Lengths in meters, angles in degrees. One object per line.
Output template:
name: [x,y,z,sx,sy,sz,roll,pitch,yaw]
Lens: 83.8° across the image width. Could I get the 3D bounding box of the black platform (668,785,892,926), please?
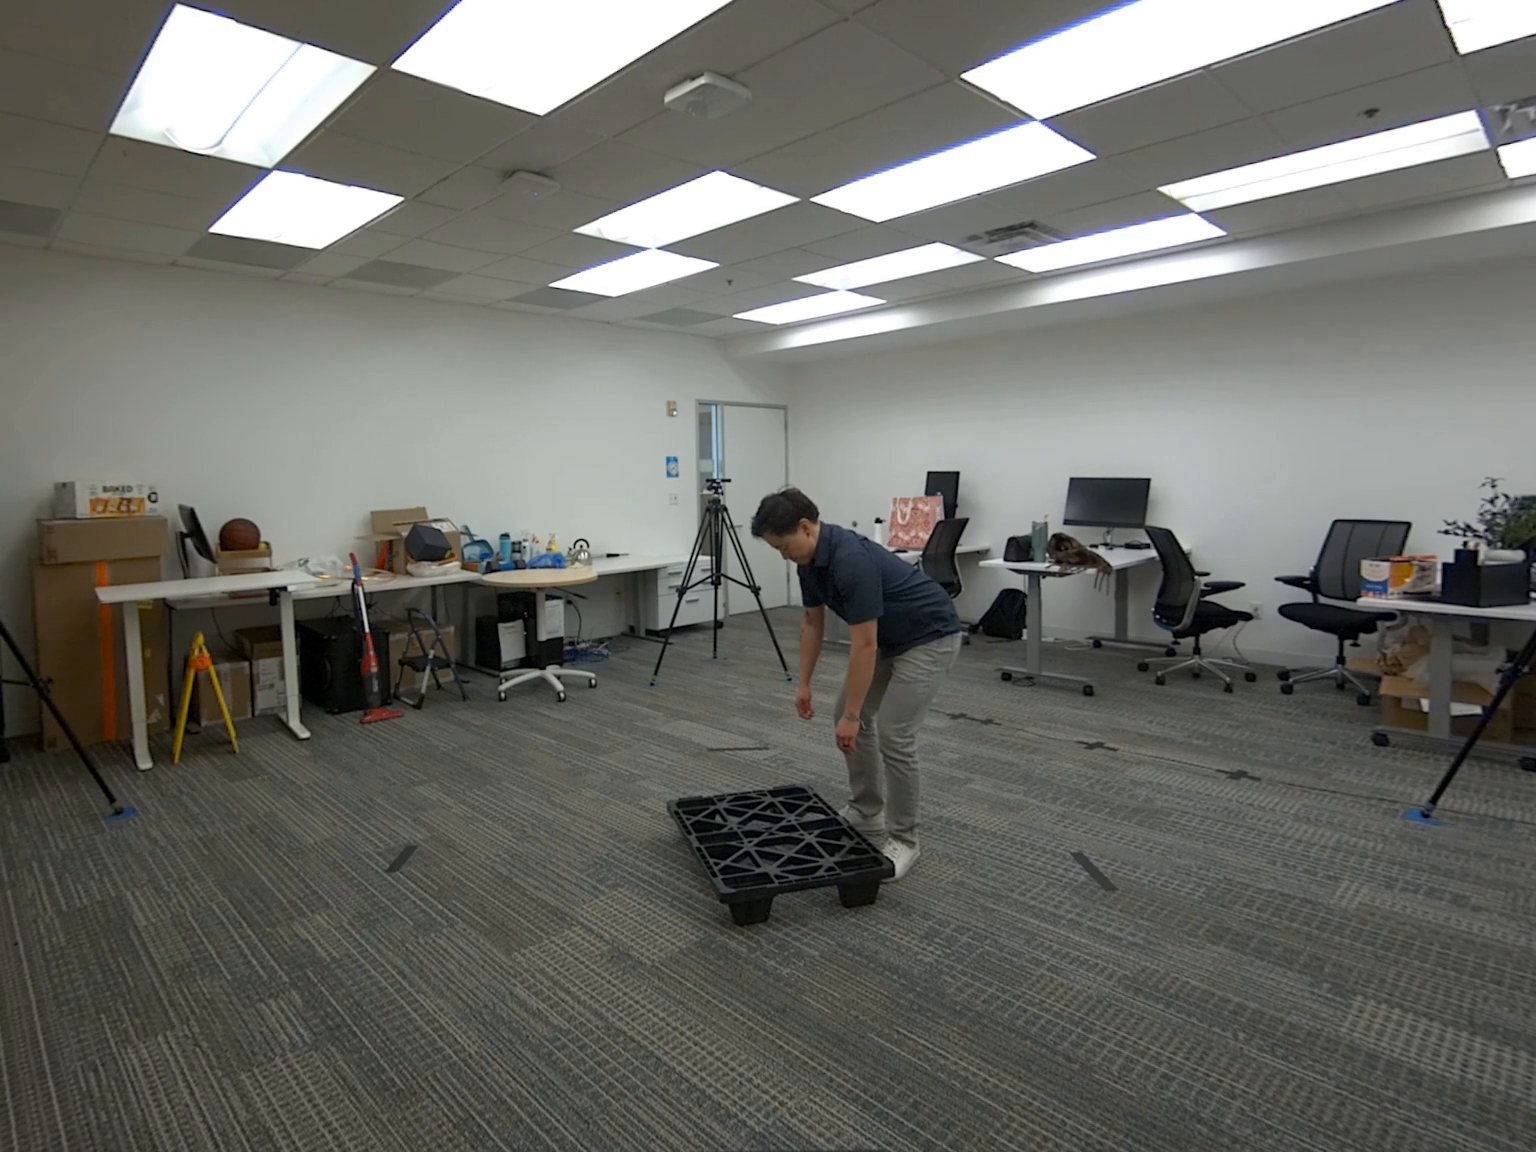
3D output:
black platform: [0.007,0.980,3.073,0.596,0.143,0.821,-4,7,-18]
